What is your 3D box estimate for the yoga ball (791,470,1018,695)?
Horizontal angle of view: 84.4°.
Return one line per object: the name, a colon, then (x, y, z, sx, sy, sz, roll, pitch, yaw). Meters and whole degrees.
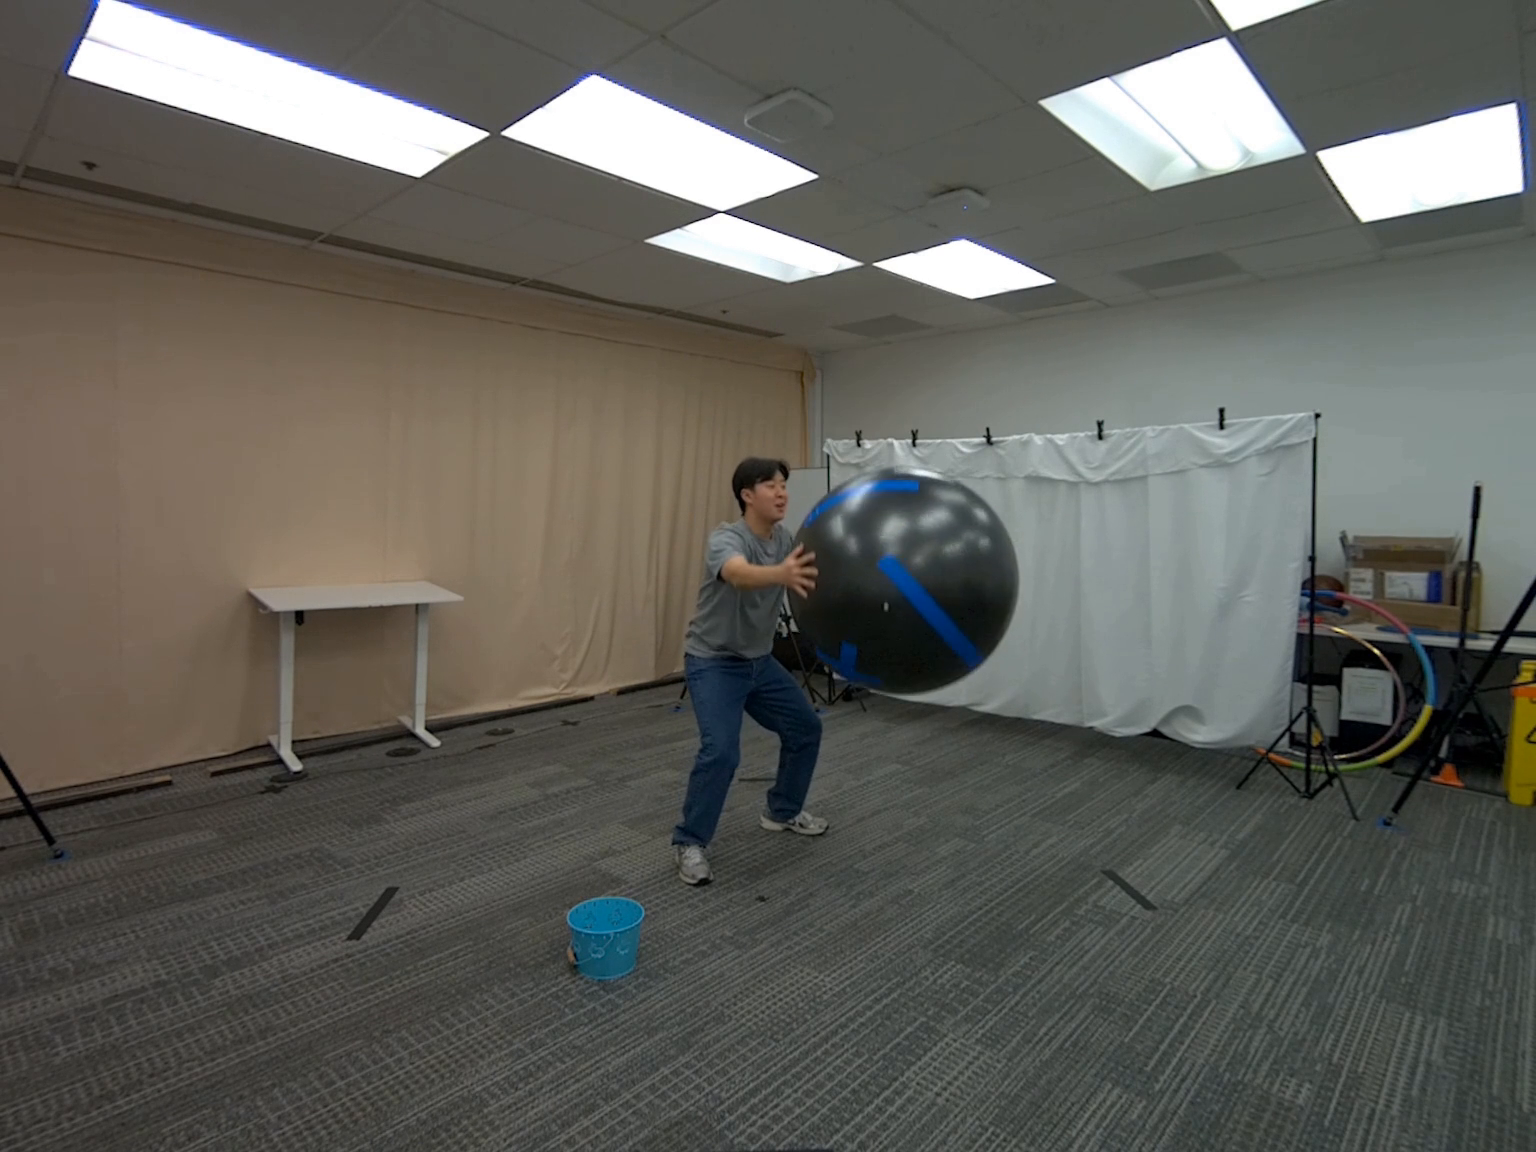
yoga ball: (0.433, 0.021, 2.850, 0.757, 0.756, 0.760, 0, 4, -2)
